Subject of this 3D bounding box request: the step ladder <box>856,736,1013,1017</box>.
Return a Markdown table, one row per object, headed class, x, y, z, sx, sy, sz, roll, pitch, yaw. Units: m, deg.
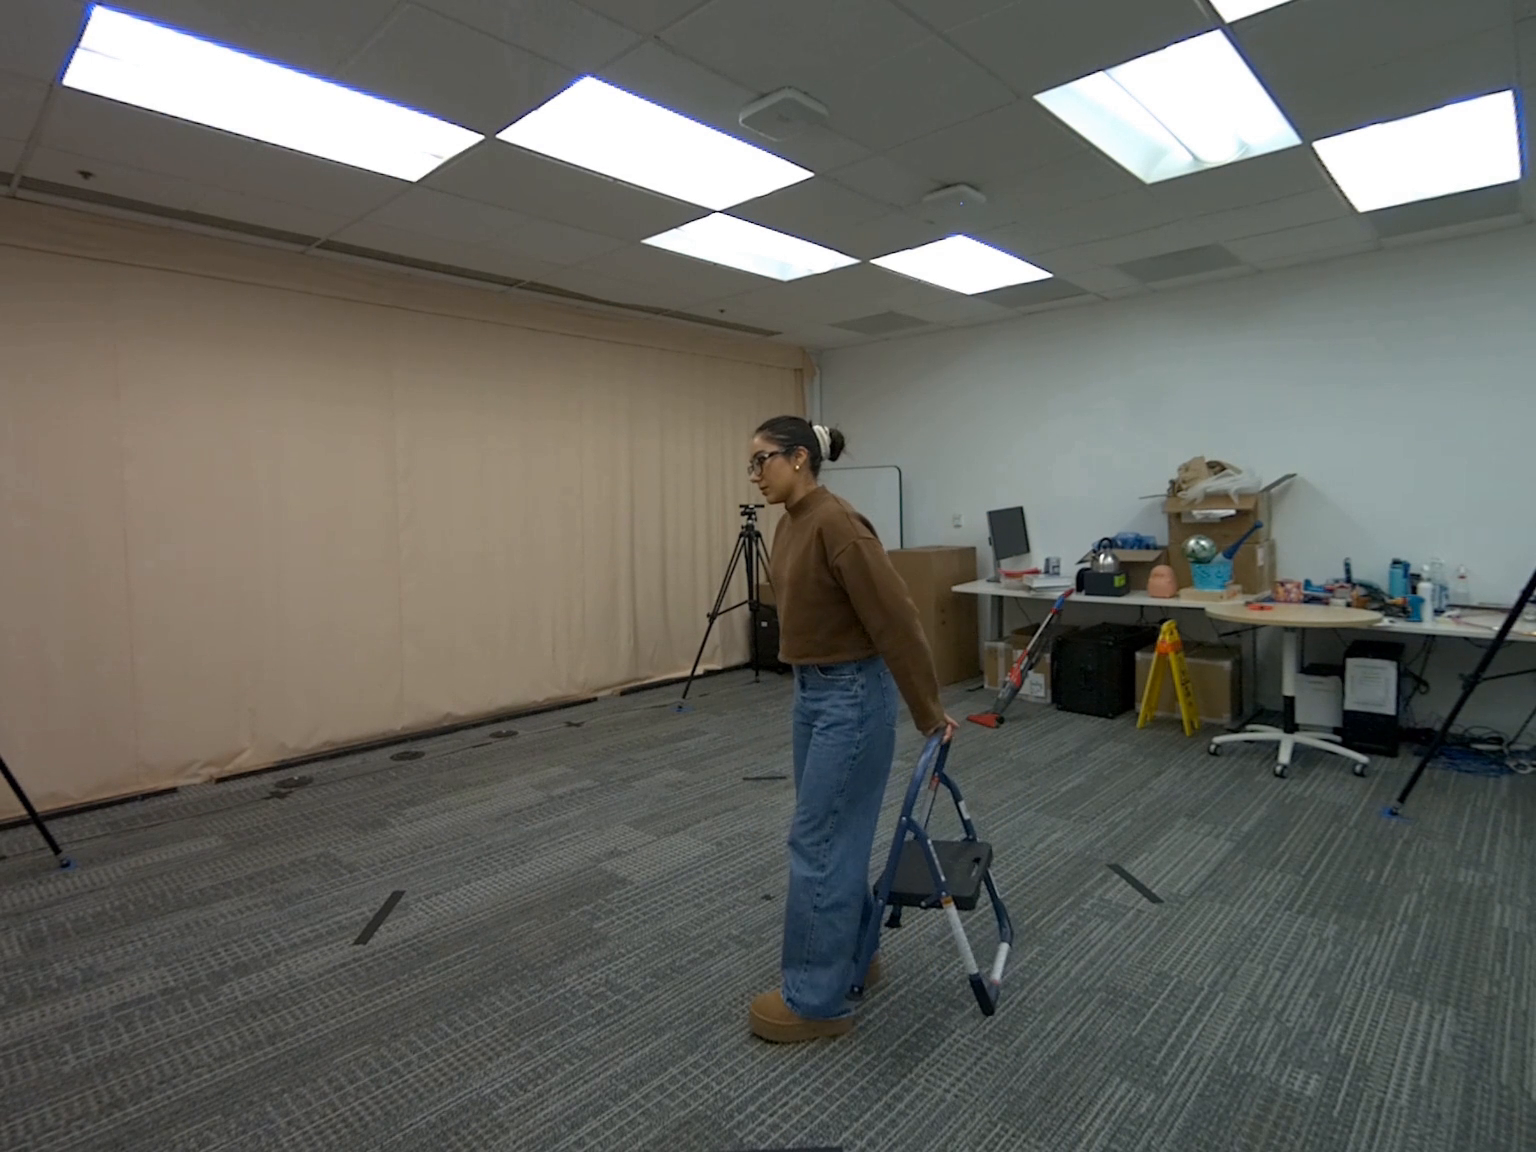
| class | x | y | z | sx | sy | sz | roll | pitch | yaw |
| --- | --- | --- | --- | --- | --- | --- | --- | --- | --- |
| step ladder | 0.402 | 0.701 | 2.143 | 0.357 | 0.606 | 0.421 | -7 | 0 | 23 |
